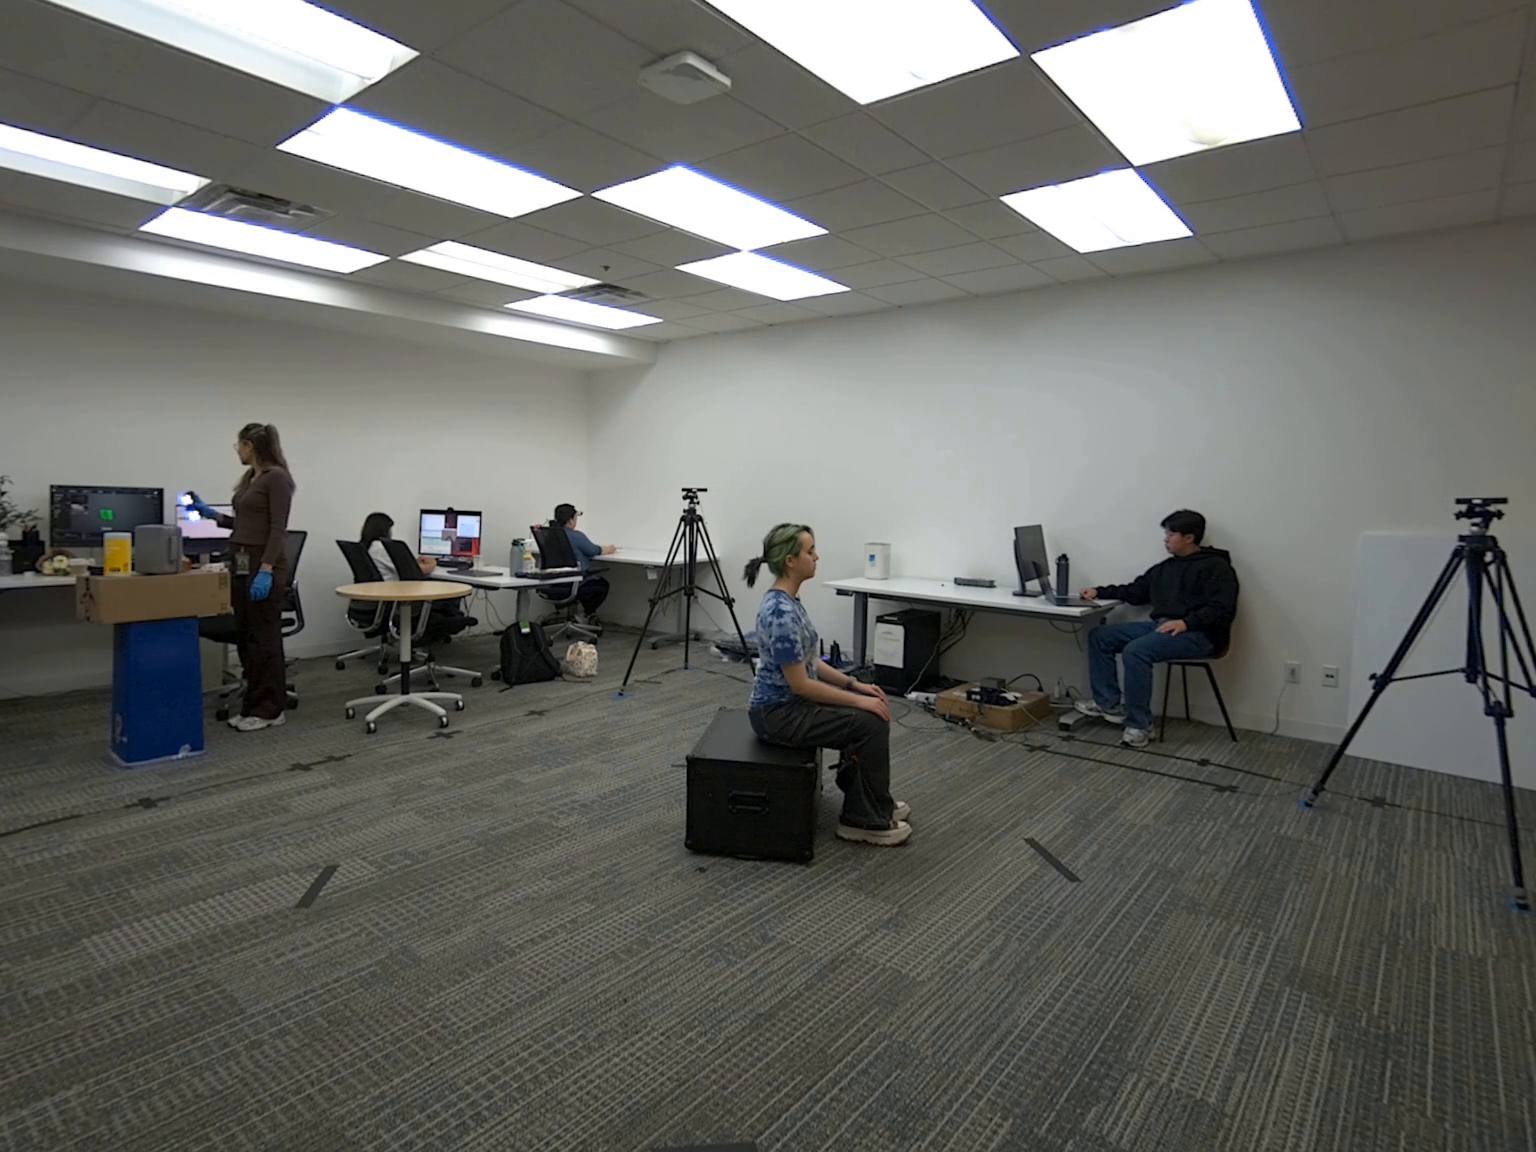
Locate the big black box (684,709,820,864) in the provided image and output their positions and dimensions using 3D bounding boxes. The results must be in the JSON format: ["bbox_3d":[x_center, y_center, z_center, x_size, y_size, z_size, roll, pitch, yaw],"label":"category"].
[{"bbox_3d":[-0.036,0.836,3.588,0.526,0.395,0.857,2,5,7],"label":"big black box"}]
